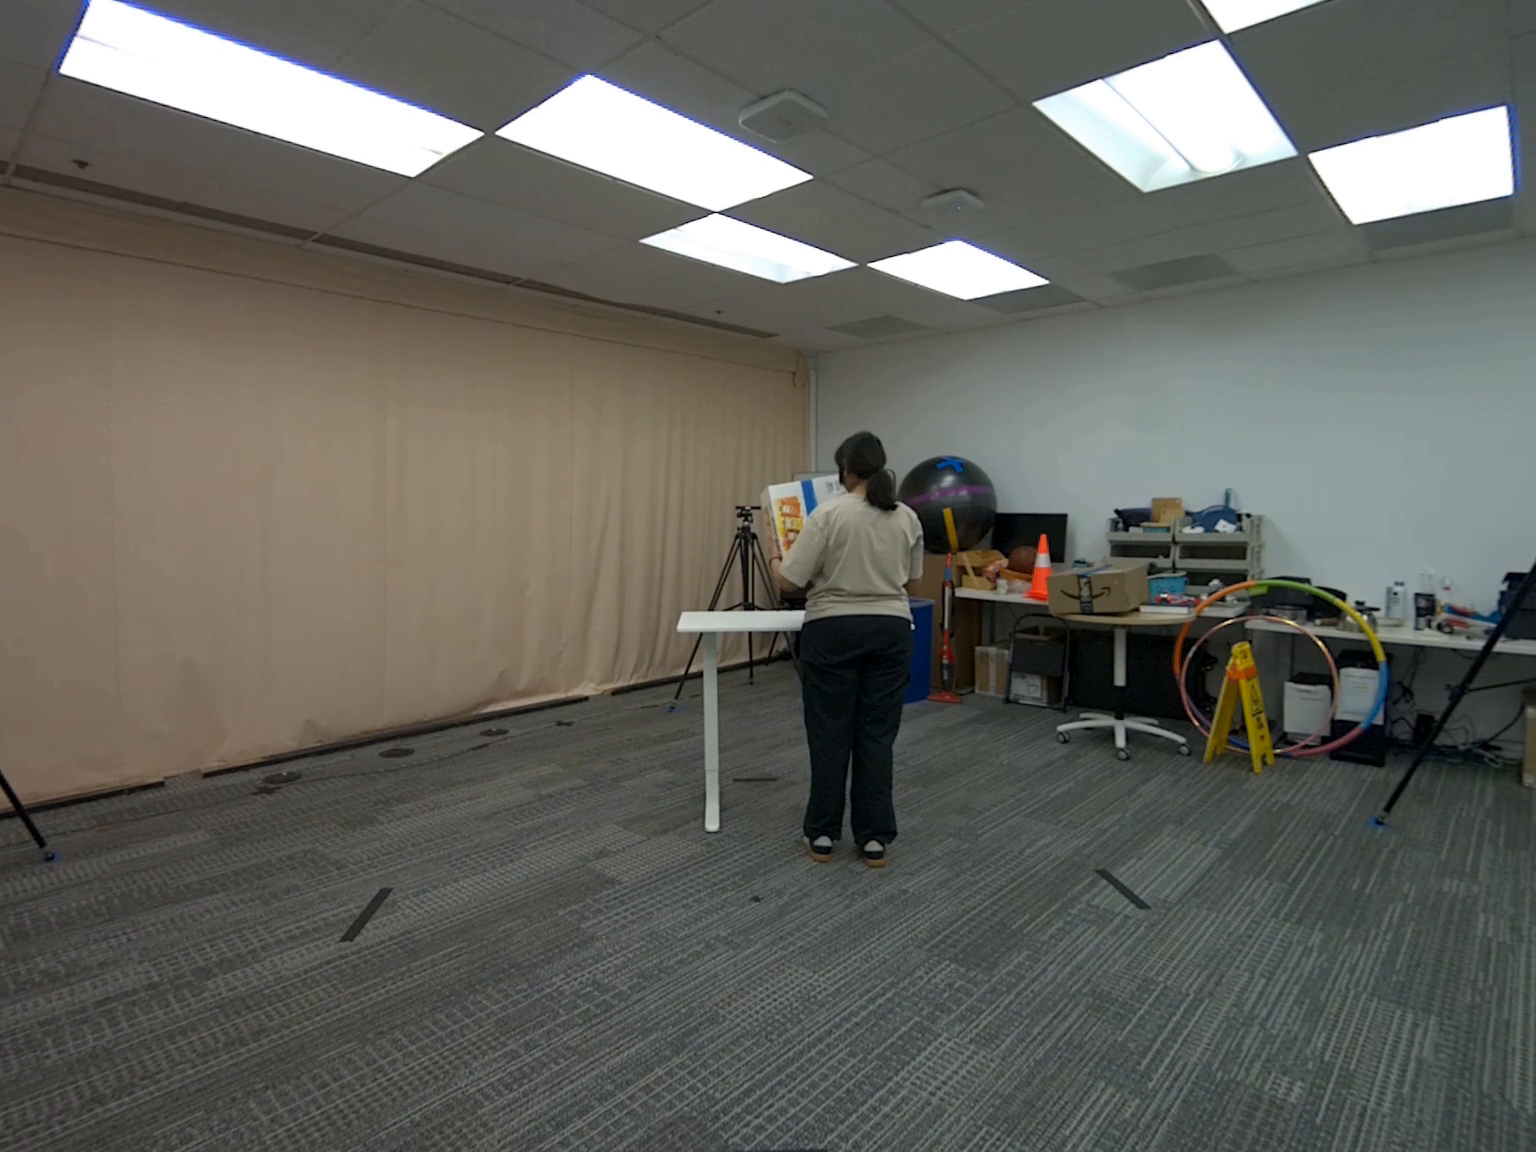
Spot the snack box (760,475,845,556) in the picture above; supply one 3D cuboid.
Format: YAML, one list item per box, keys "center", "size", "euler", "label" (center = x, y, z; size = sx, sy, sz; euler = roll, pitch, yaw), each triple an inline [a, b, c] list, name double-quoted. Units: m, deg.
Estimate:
- center: [0.186, -0.192, 3.605]
  size: [0.337, 0.407, 0.206]
  euler: [-11, -6, -10]
  label: "snack box"
